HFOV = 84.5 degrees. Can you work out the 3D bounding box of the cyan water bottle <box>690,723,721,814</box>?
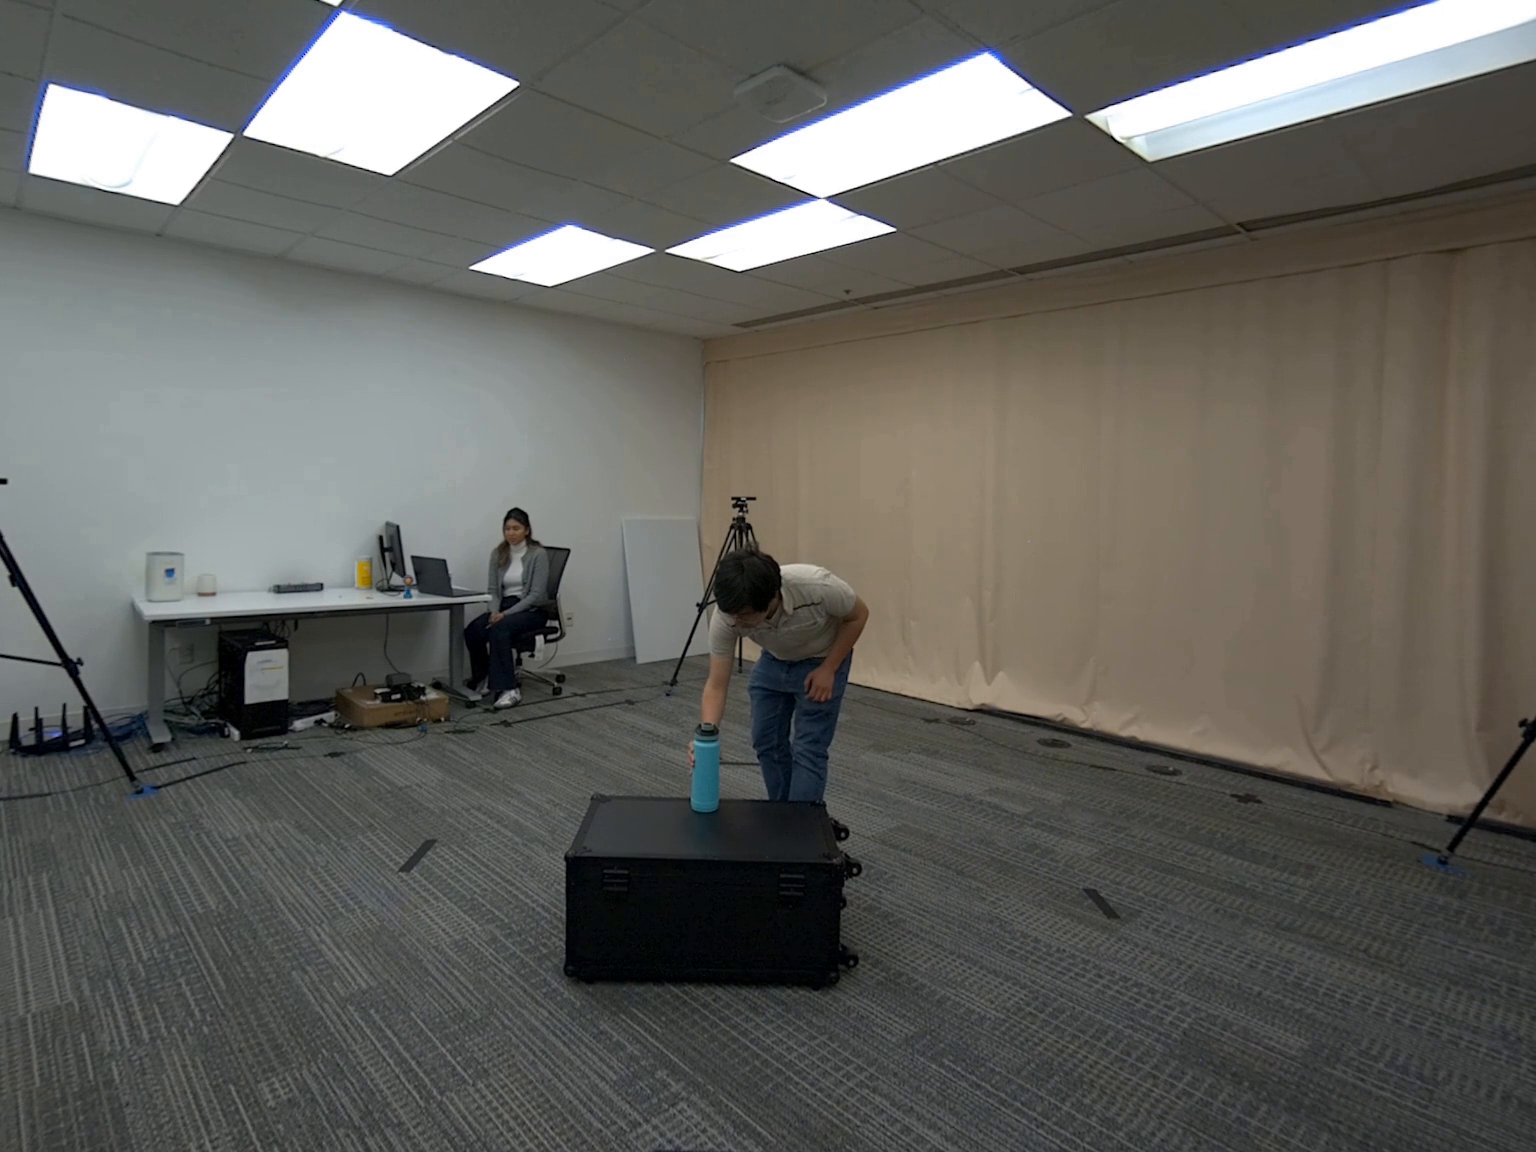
[{"bbox_3d":[-0.220,0.624,2.749,0.092,0.282,0.093,0,5,-1],"label":"cyan water bottle"}]
